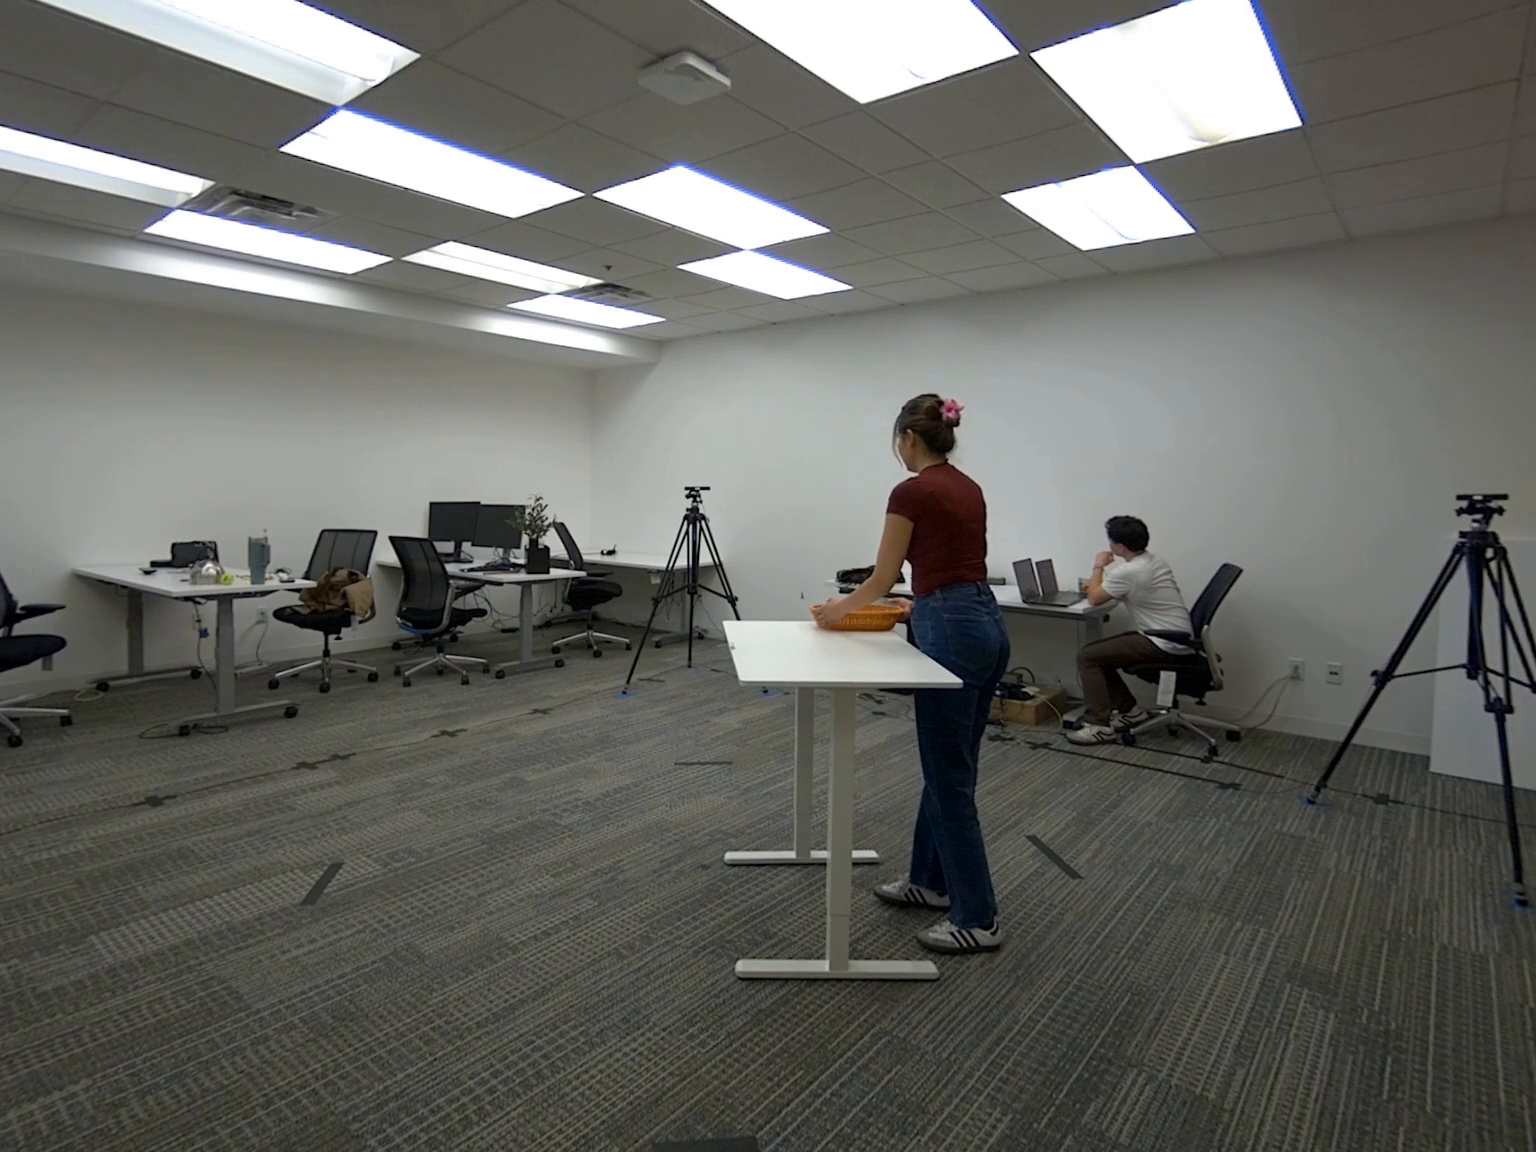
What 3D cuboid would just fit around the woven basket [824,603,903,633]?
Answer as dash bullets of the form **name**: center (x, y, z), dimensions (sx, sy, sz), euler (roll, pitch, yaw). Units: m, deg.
- **woven basket**: center (0.321, 0.152, 3.144), dimensions (0.348, 0.073, 0.255), euler (-1, 4, -7)
